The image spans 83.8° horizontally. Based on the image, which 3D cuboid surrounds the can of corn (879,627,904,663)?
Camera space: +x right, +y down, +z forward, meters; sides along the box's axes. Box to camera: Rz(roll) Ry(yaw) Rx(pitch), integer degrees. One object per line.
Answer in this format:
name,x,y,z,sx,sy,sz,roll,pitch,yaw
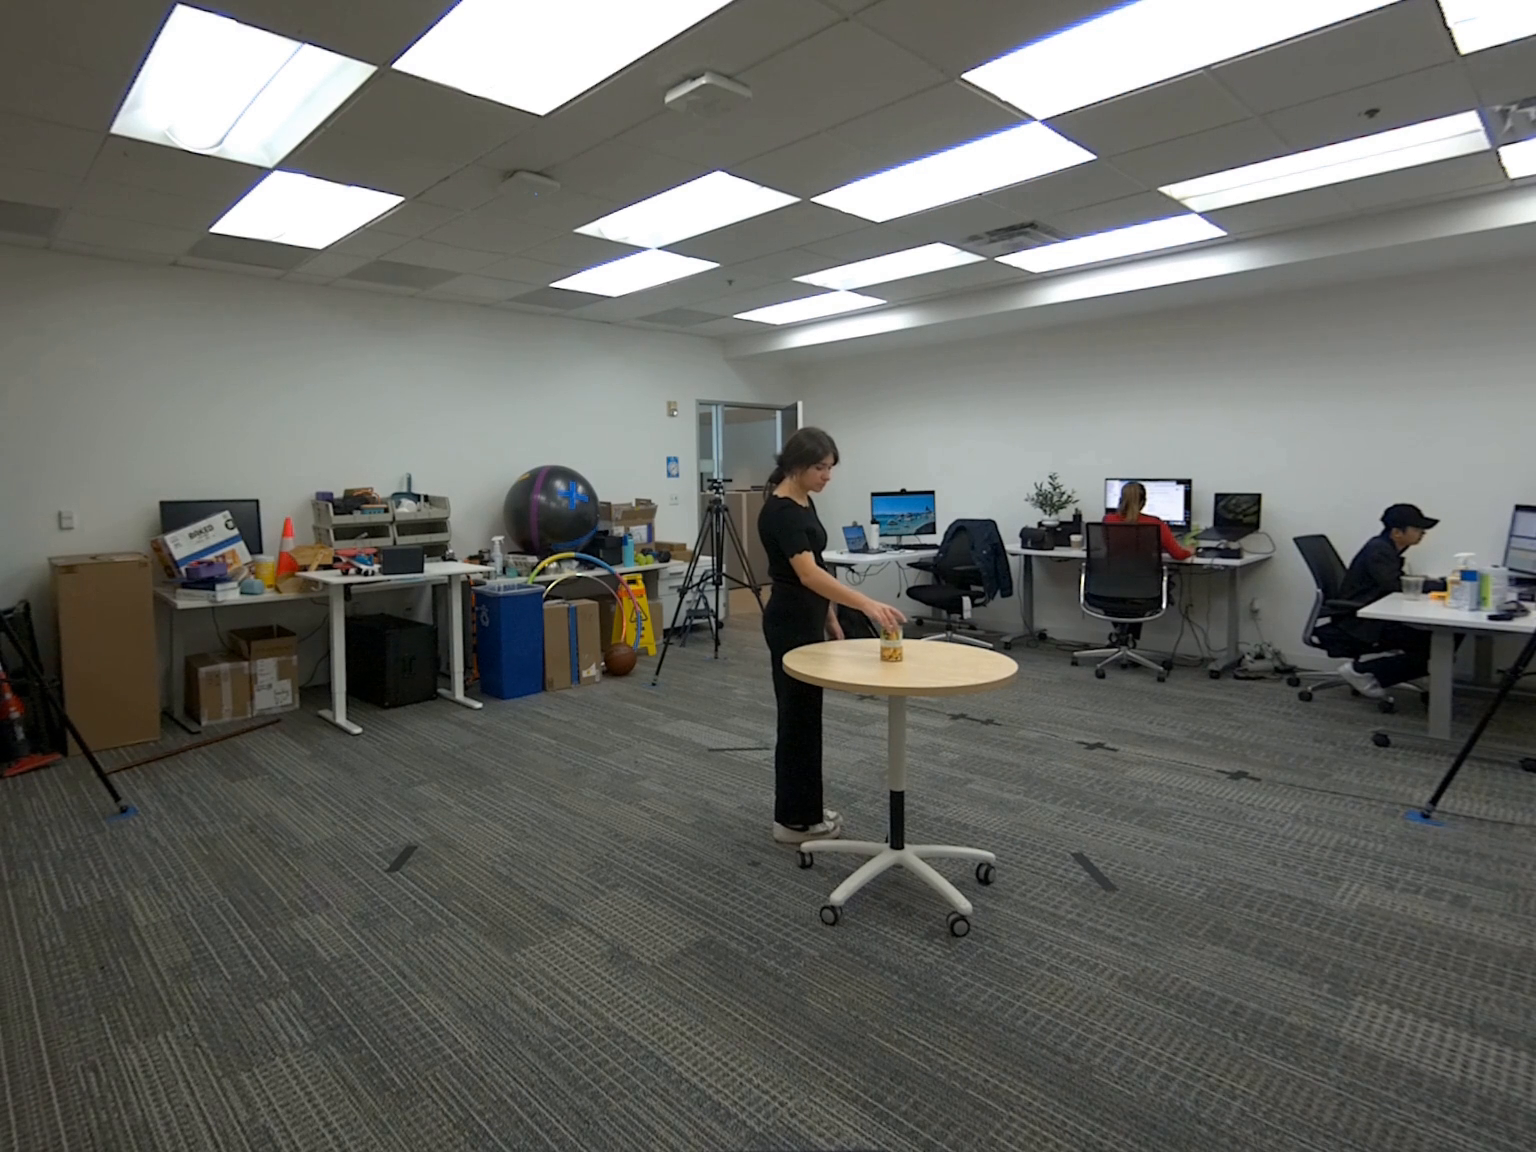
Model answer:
can of corn,0.413,0.225,2.862,0.074,0.111,0.074,-1,4,-2
